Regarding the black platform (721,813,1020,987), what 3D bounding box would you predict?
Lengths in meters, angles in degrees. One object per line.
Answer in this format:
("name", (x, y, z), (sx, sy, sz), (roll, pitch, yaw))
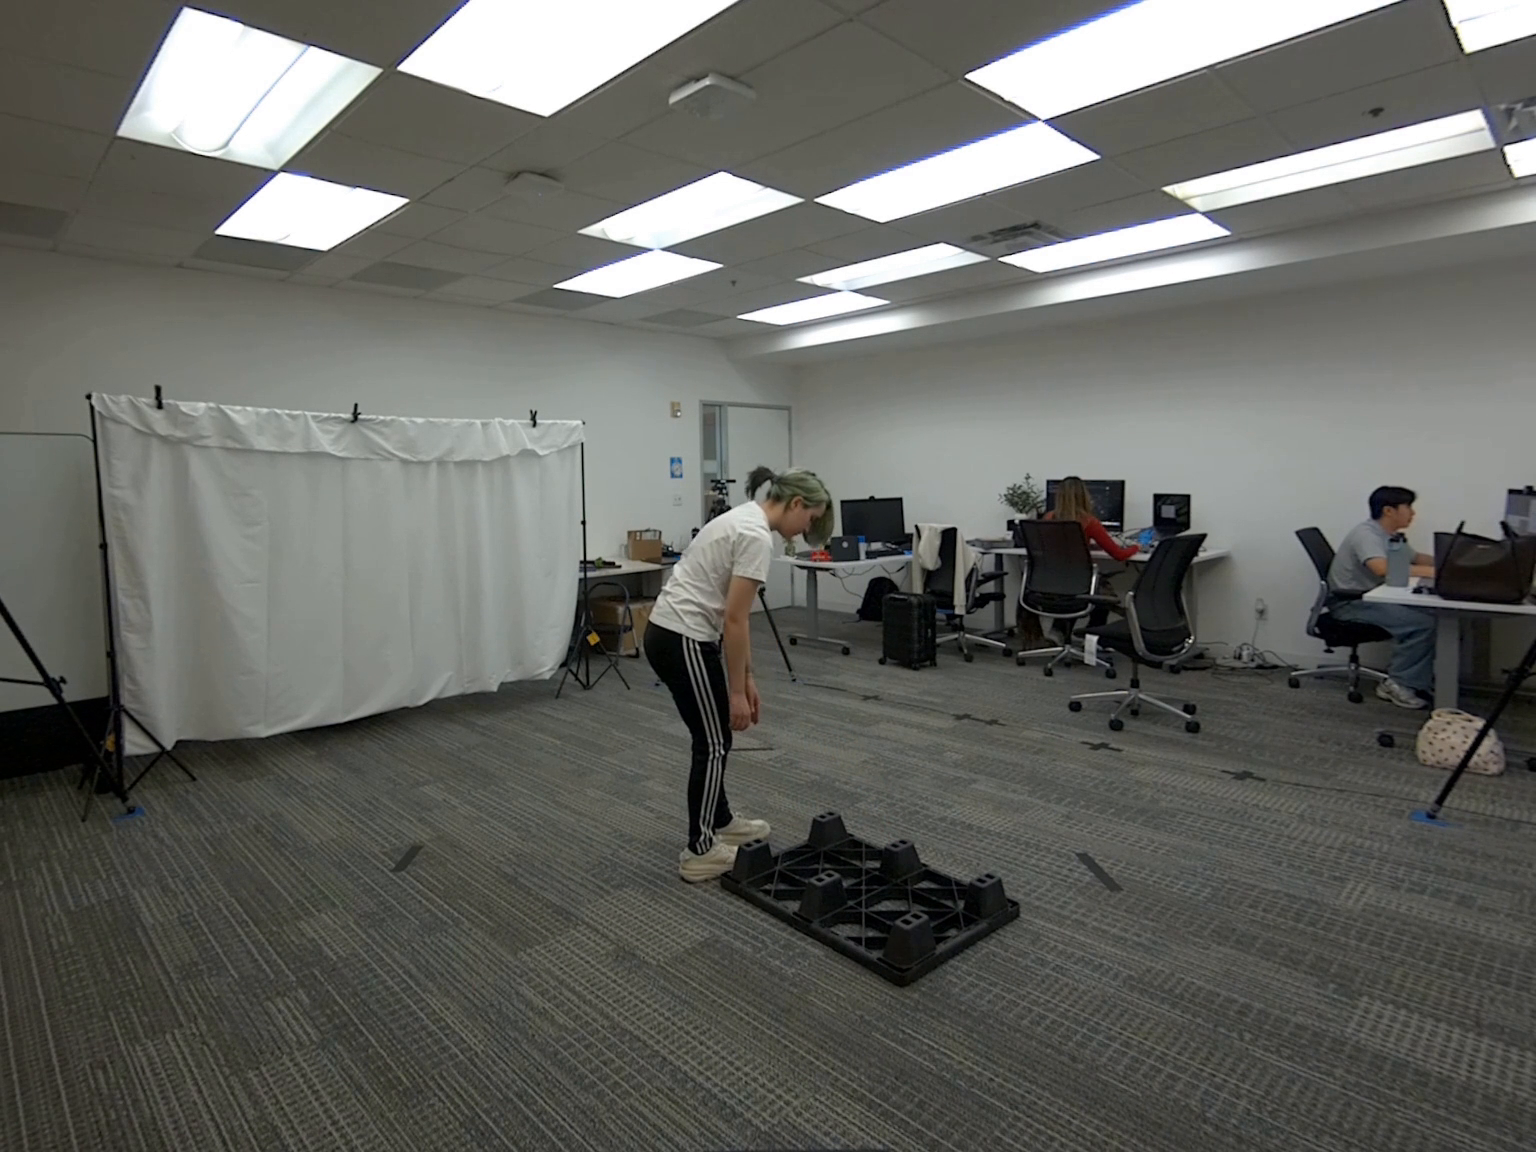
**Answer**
("black platform", (0.310, 1.008, 2.824), (0.589, 0.143, 0.830), (-6, 7, -41))
